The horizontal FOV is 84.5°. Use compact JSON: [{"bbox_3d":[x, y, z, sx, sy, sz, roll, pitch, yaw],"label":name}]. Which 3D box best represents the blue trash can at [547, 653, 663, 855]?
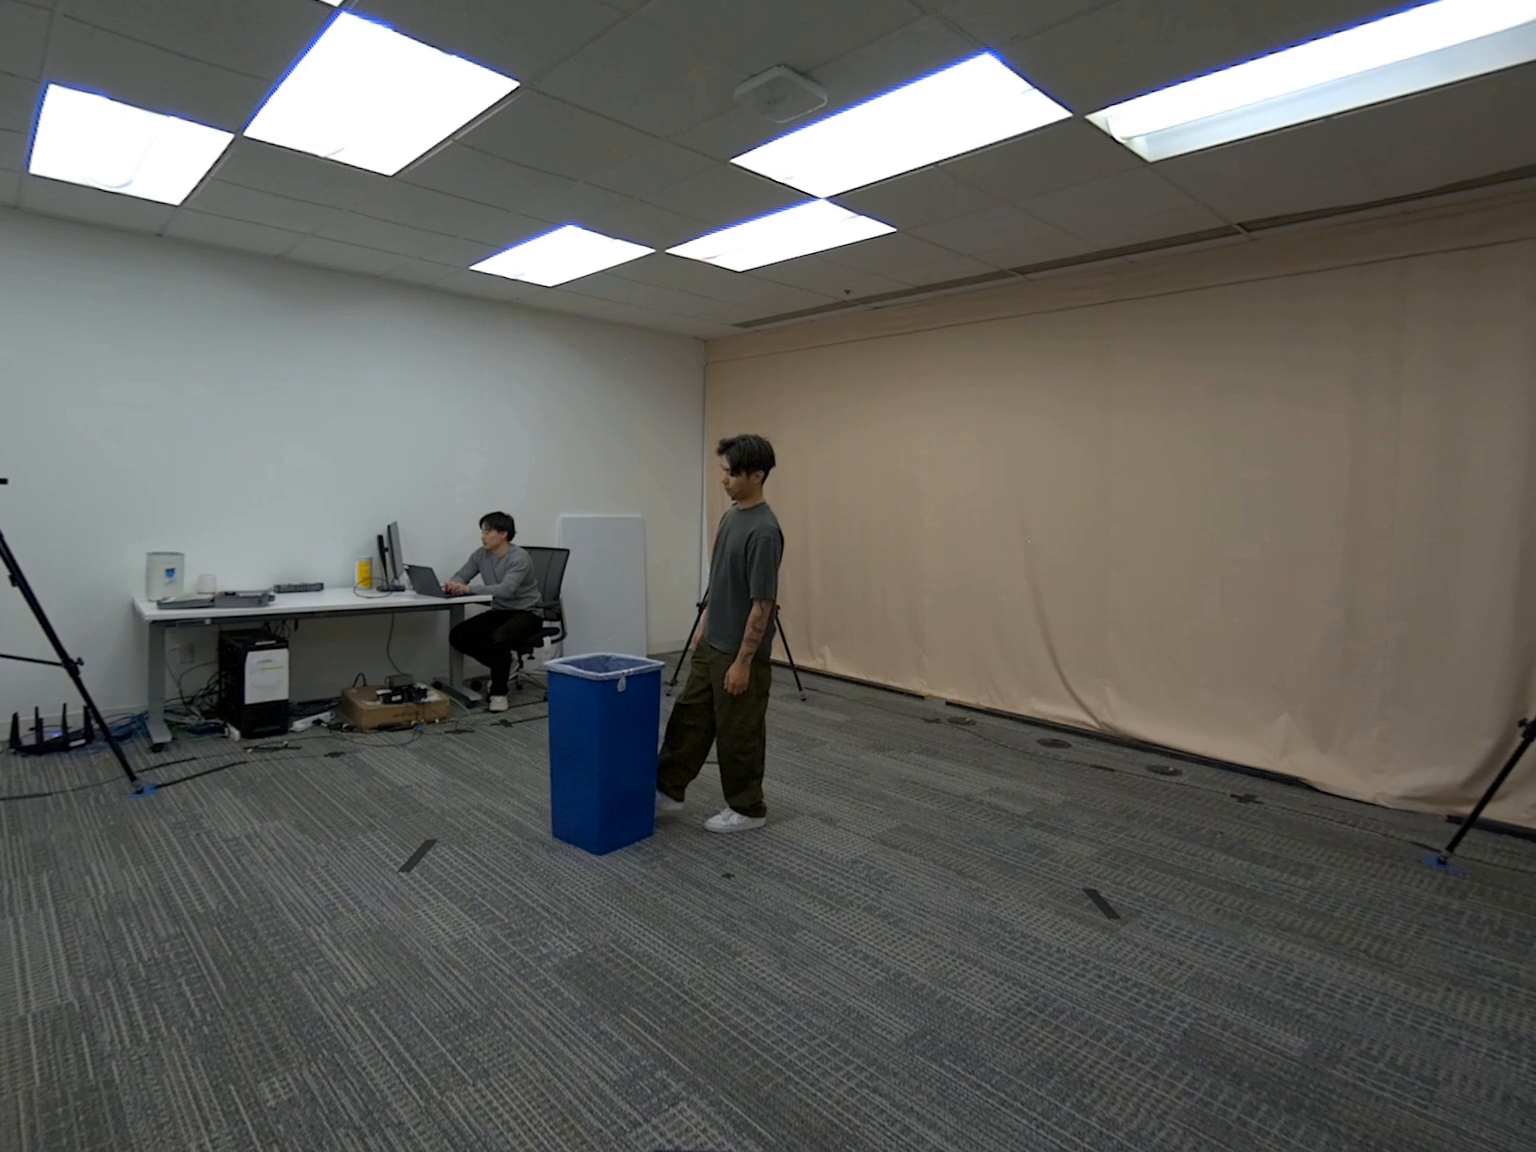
[{"bbox_3d":[-0.681,0.710,3.427,0.387,0.712,0.365,3,3,39],"label":"blue trash can"}]
